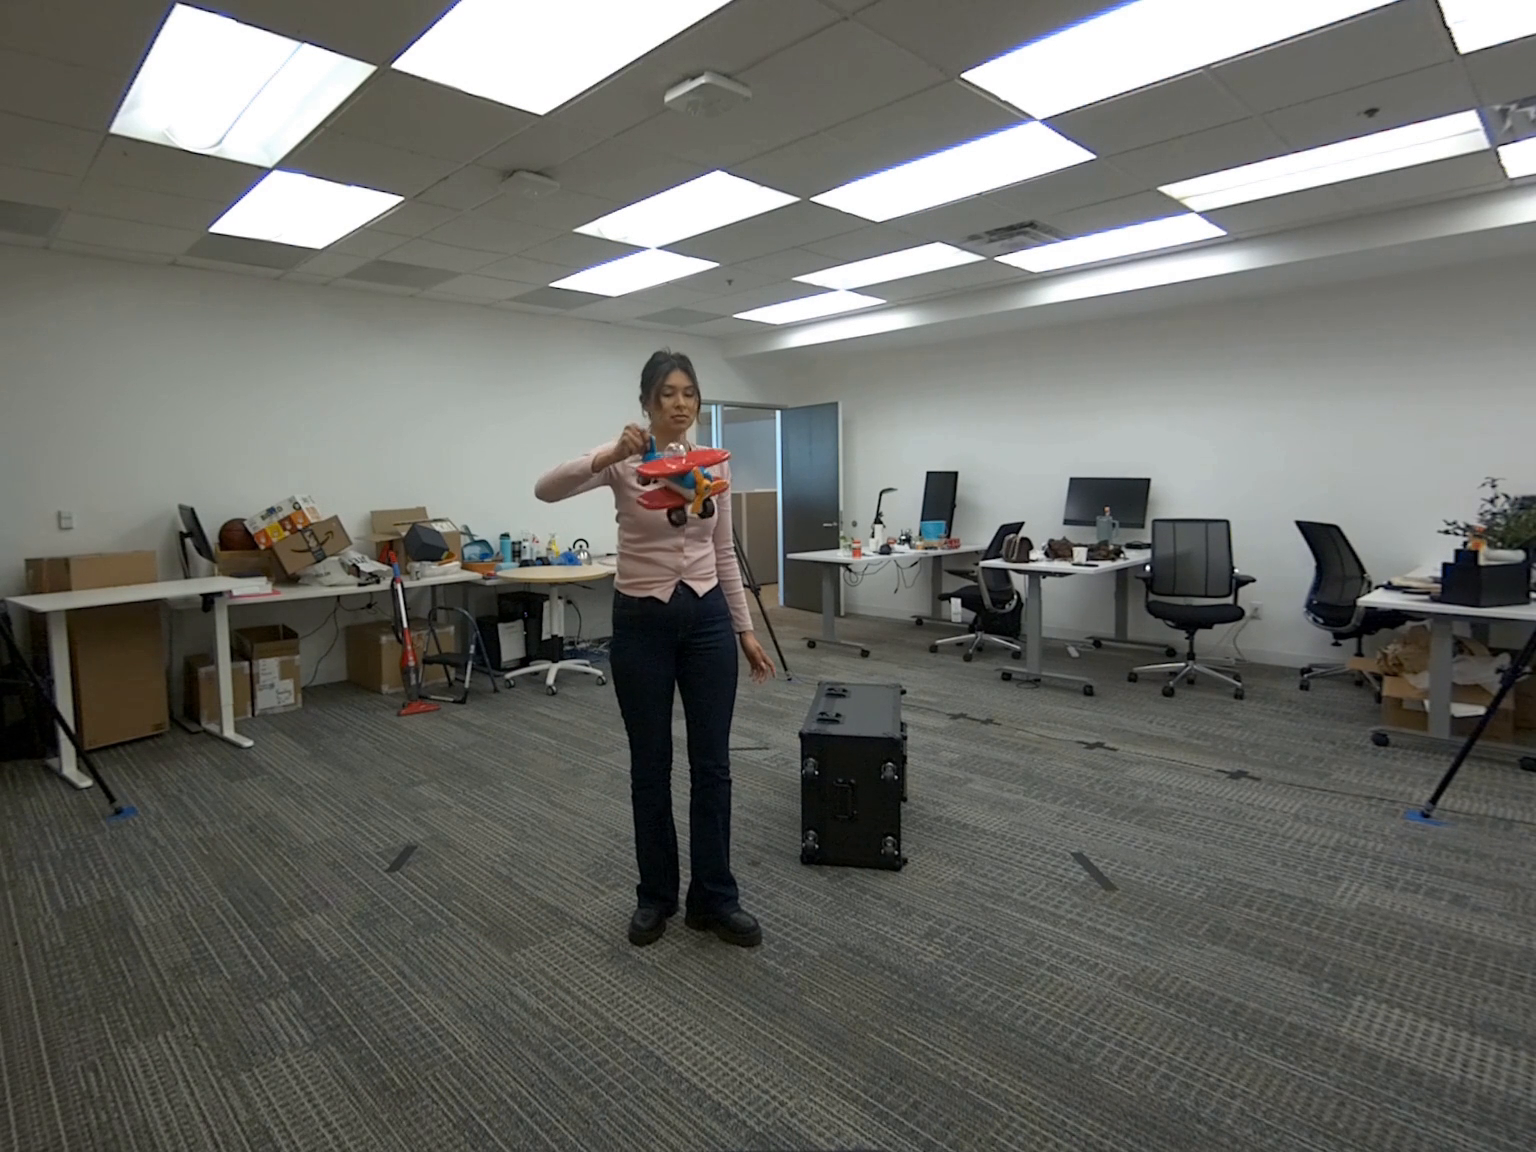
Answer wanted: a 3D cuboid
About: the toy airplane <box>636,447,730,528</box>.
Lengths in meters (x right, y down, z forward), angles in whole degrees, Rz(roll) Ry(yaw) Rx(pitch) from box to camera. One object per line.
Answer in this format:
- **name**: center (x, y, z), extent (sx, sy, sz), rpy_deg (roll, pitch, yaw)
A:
- **toy airplane**: center (-0.235, -0.235, 2.081), extent (0.263, 0.153, 0.252), rpy_deg (23, 36, 11)
